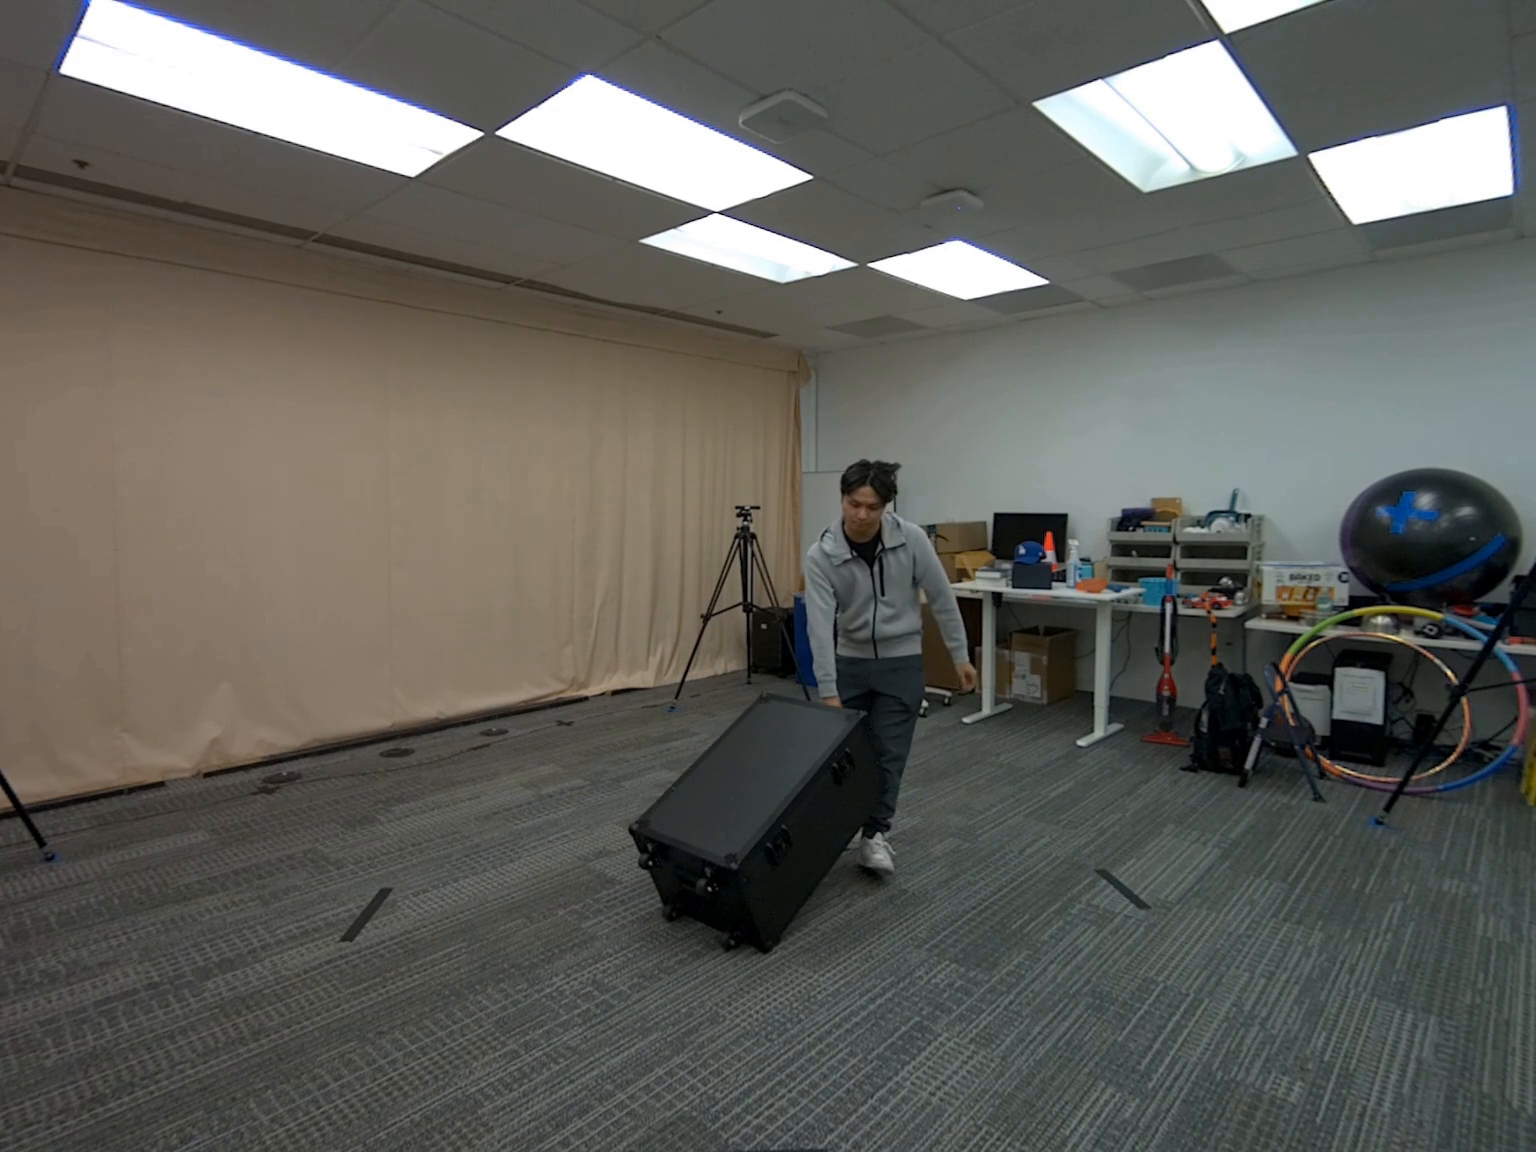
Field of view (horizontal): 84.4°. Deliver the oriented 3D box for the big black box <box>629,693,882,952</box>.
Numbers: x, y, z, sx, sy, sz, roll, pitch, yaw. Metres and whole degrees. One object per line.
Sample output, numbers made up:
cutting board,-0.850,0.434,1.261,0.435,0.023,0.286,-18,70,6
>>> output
big black box,-0.030,0.837,2.941,0.538,0.388,0.850,3,32,42
